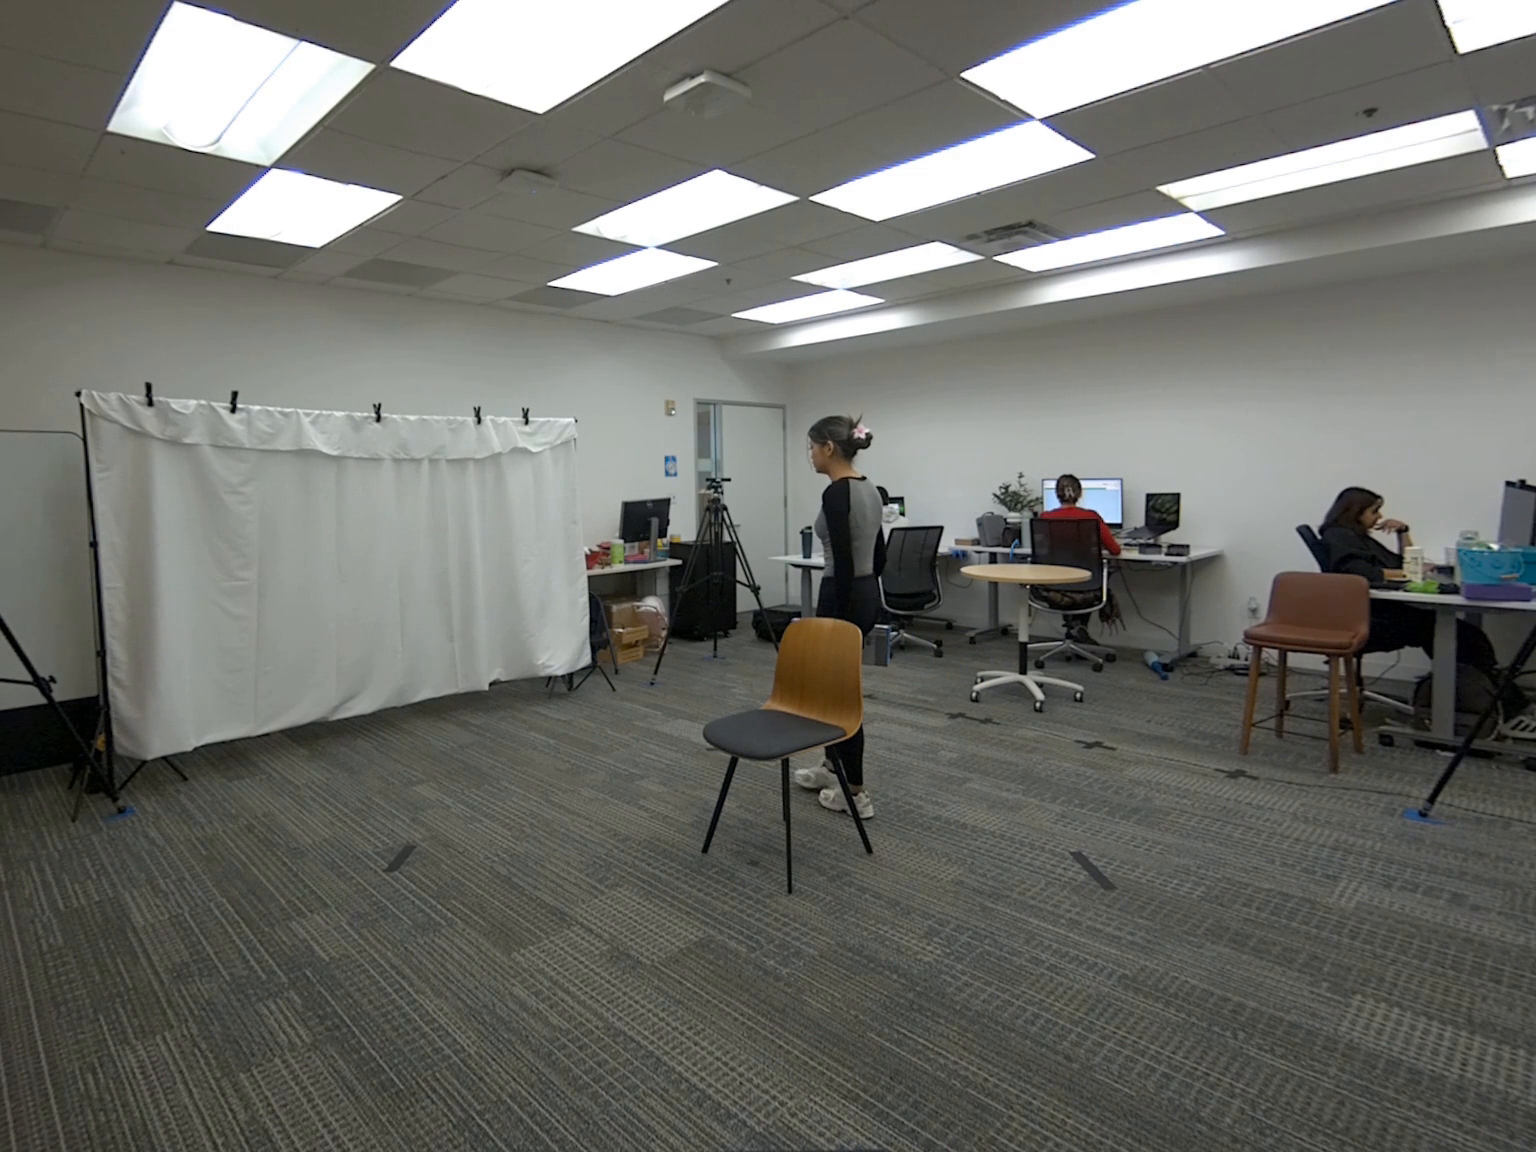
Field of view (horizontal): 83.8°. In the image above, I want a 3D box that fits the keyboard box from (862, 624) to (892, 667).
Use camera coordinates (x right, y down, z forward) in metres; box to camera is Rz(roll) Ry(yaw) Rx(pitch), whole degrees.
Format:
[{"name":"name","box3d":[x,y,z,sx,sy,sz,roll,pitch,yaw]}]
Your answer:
[{"name":"keyboard box","box3d":[0.329,0.293,3.799,0.445,0.175,0.058,4,7,19]}]
